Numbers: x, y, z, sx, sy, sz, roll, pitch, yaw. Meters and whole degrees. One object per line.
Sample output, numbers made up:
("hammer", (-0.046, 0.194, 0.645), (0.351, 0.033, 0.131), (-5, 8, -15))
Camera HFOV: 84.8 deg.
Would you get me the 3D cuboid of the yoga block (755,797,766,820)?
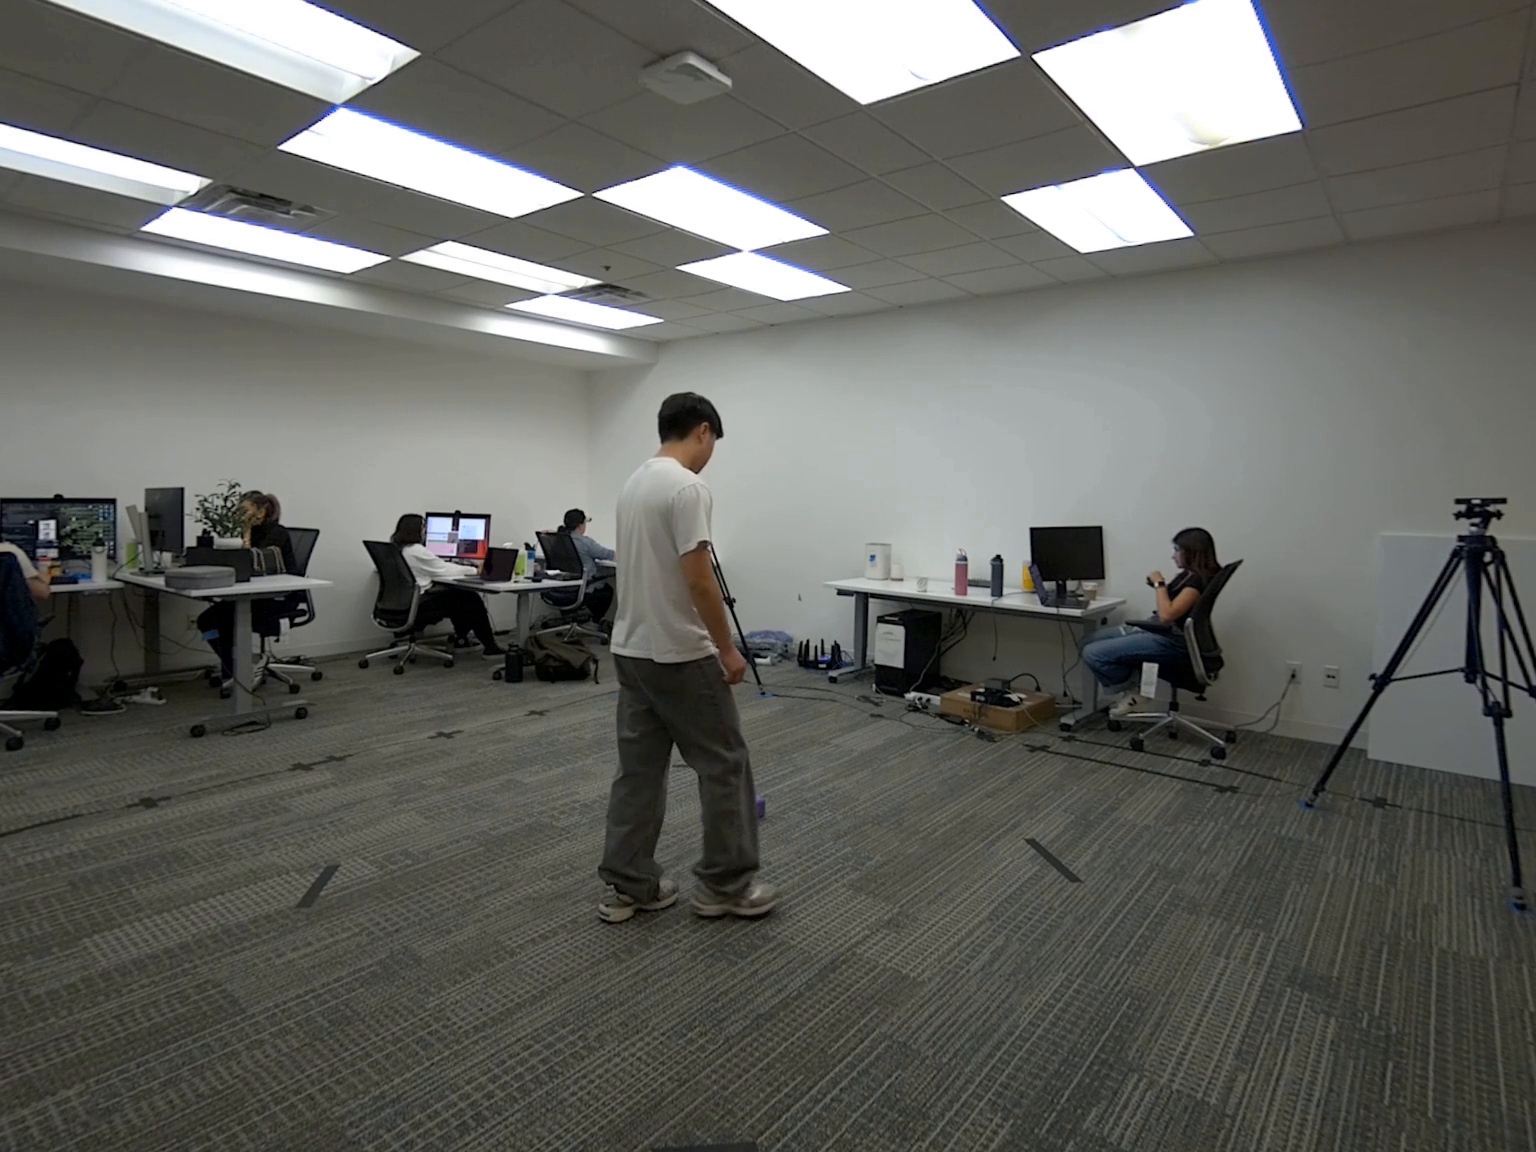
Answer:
("yoga block", (-0.131, 0.975, 3.603), (0.154, 0.076, 0.222), (5, 7, 41))
